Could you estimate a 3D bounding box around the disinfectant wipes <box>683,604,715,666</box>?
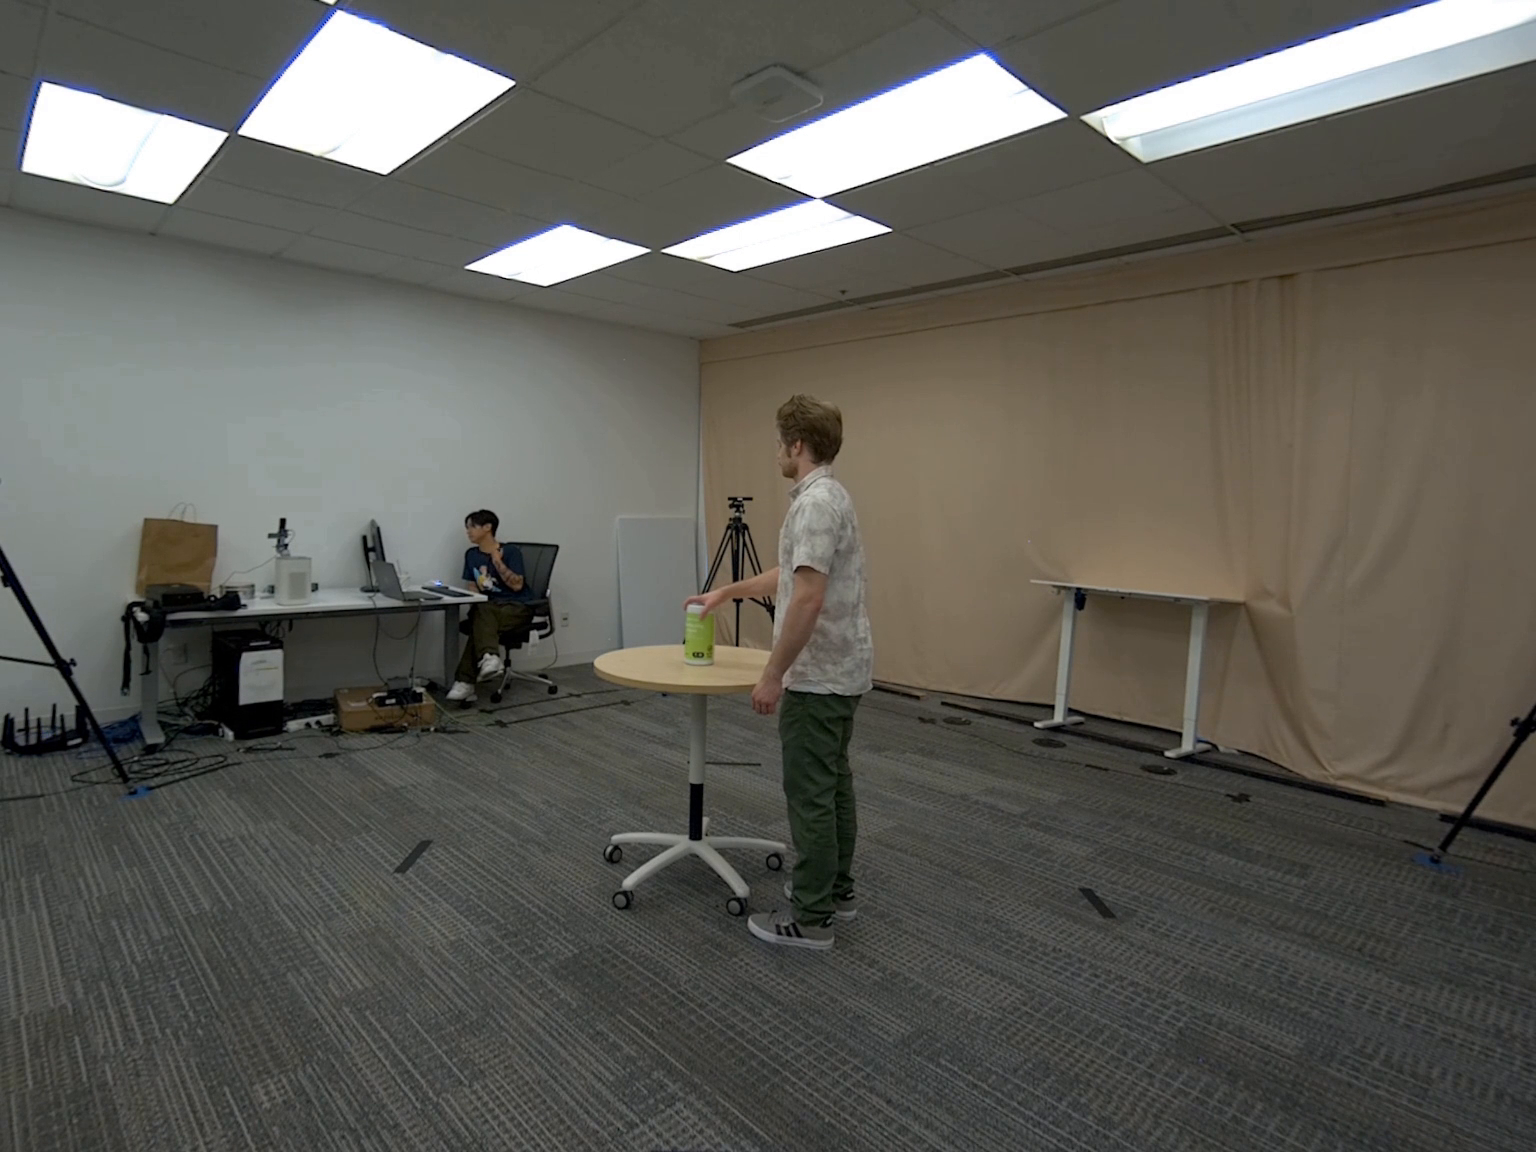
[{"bbox_3d":[-0.251,0.212,3.052,0.118,0.217,0.118,1,4,-1],"label":"disinfectant wipes"}]
